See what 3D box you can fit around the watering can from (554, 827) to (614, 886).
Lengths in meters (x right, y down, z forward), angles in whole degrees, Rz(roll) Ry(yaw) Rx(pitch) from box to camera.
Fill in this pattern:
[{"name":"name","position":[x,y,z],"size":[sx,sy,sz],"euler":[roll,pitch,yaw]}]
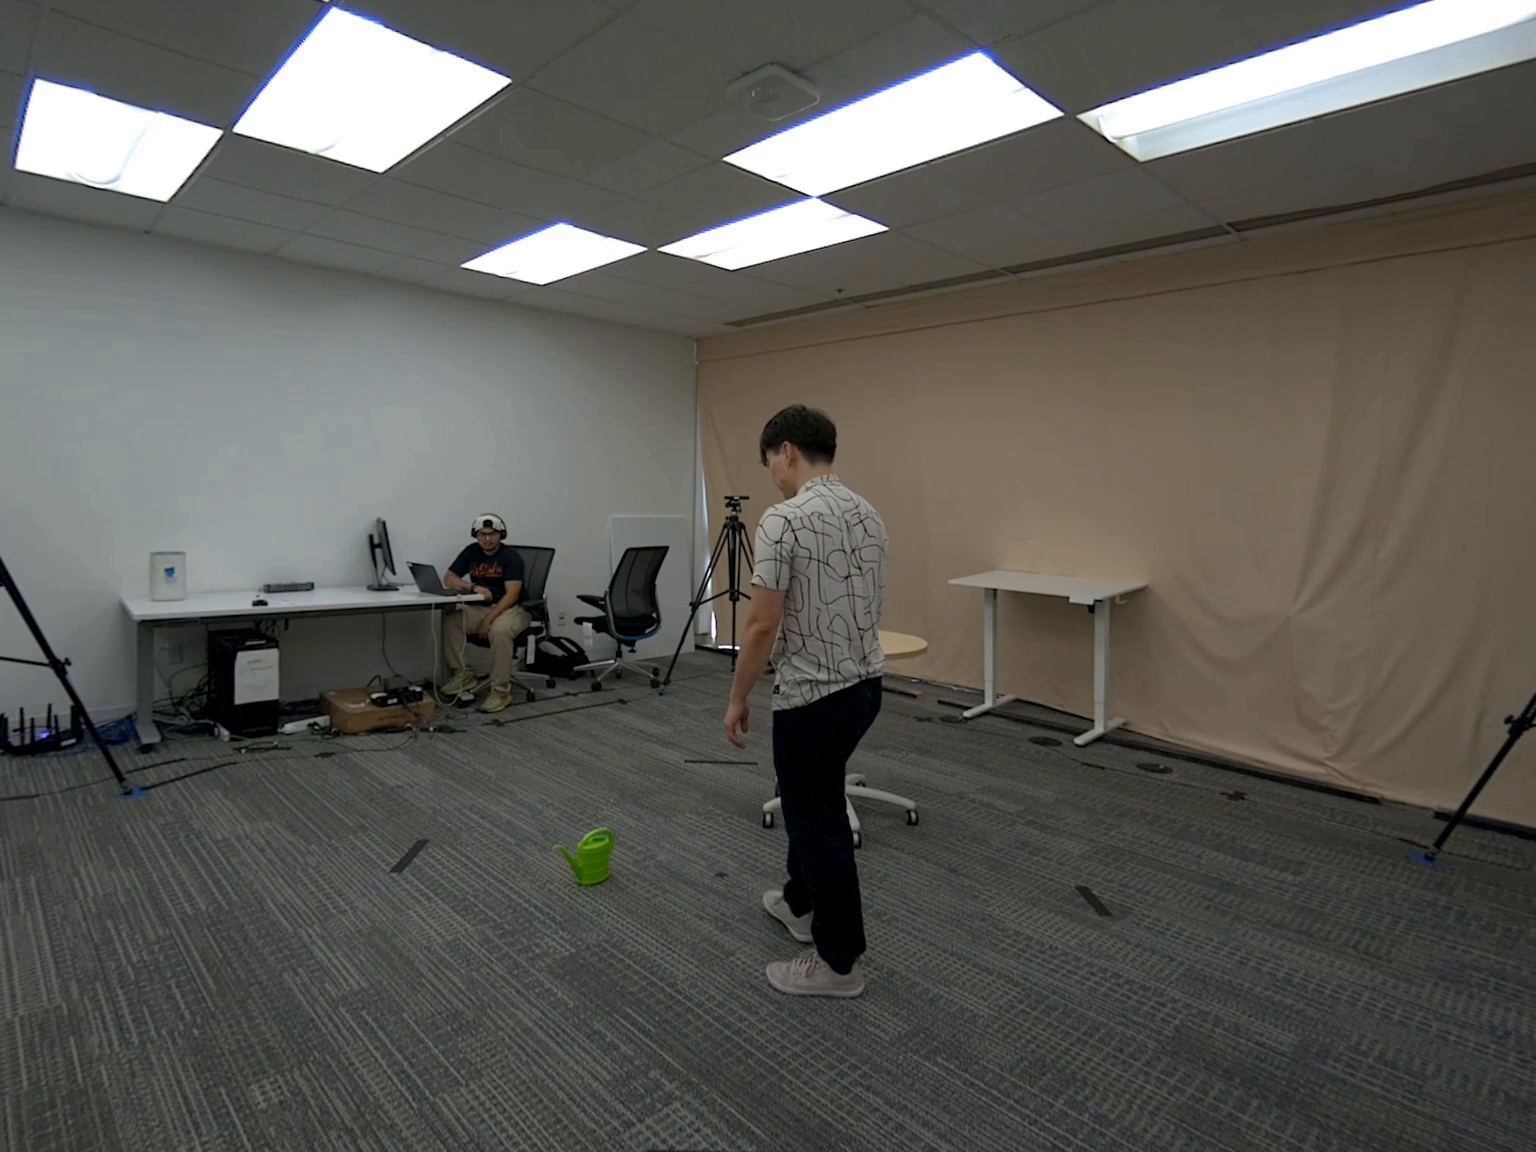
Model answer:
[{"name":"watering can","position":[-0.670,1.007,3.012],"size":[0.272,0.176,0.100],"euler":[-1,6,-40]}]
